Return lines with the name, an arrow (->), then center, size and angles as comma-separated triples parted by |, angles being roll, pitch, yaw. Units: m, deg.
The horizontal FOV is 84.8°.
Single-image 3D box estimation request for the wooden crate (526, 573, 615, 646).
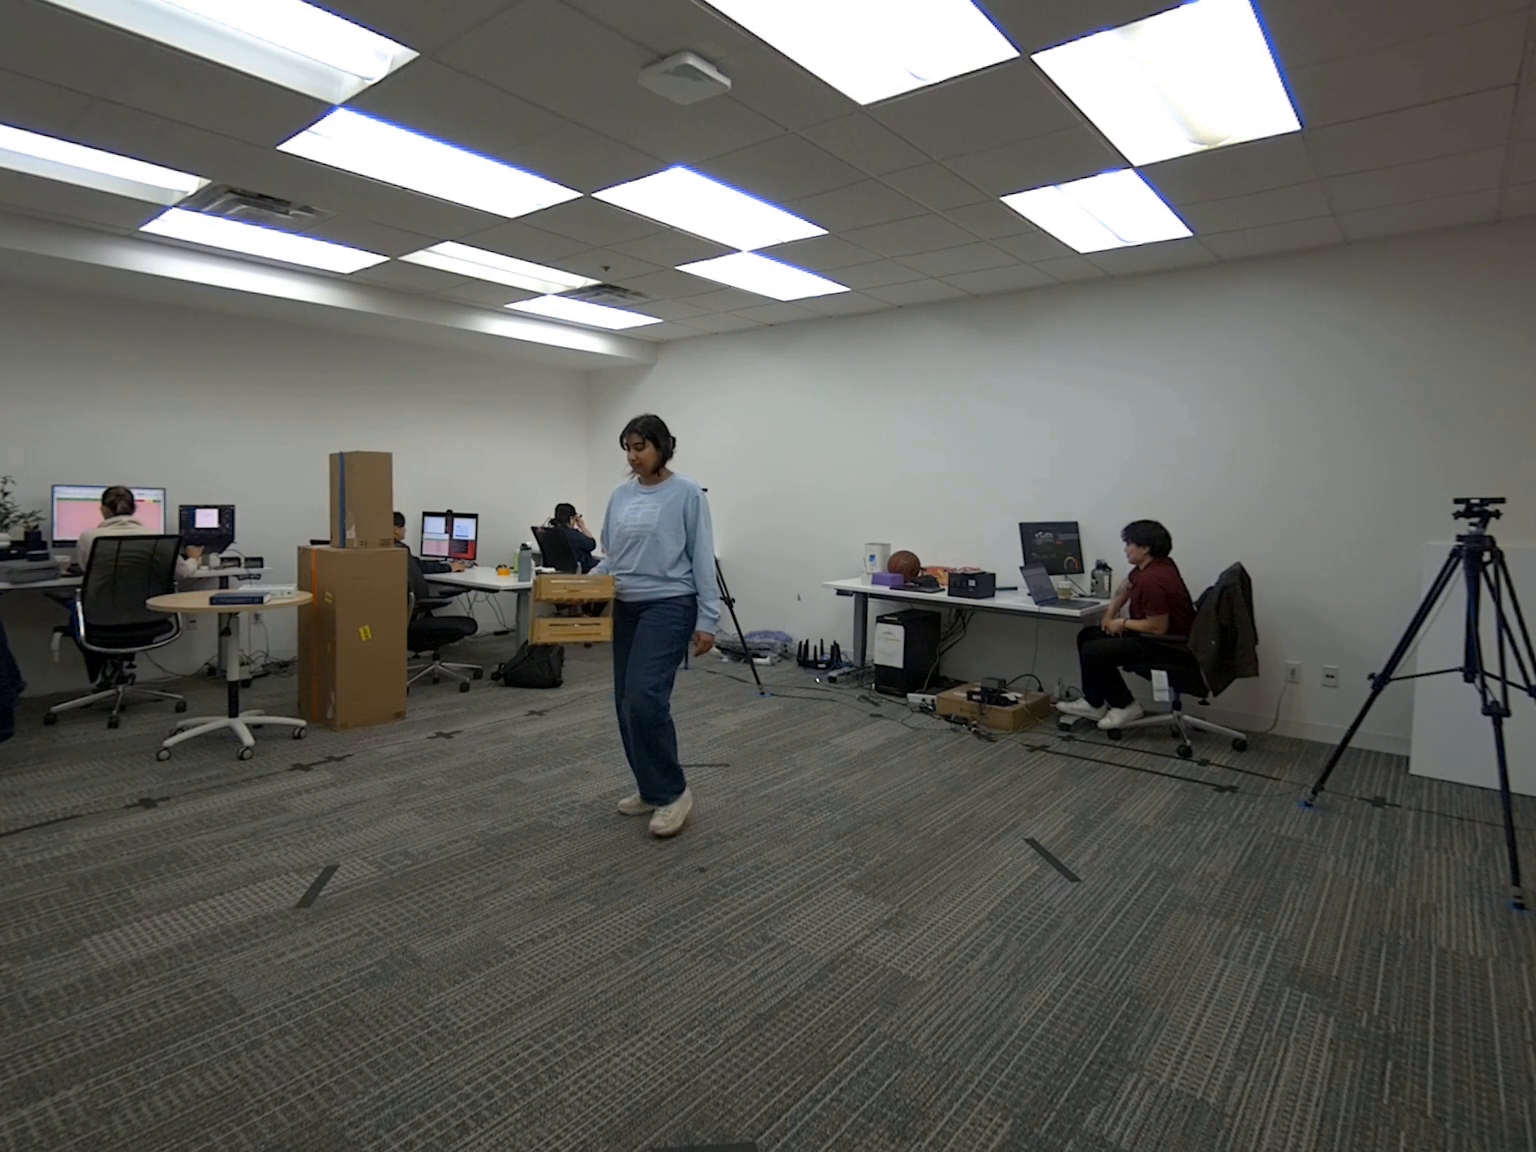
wooden crate -> -0.820, 0.135, 3.474 | 0.318, 0.276, 0.305 | 1, -8, -20
